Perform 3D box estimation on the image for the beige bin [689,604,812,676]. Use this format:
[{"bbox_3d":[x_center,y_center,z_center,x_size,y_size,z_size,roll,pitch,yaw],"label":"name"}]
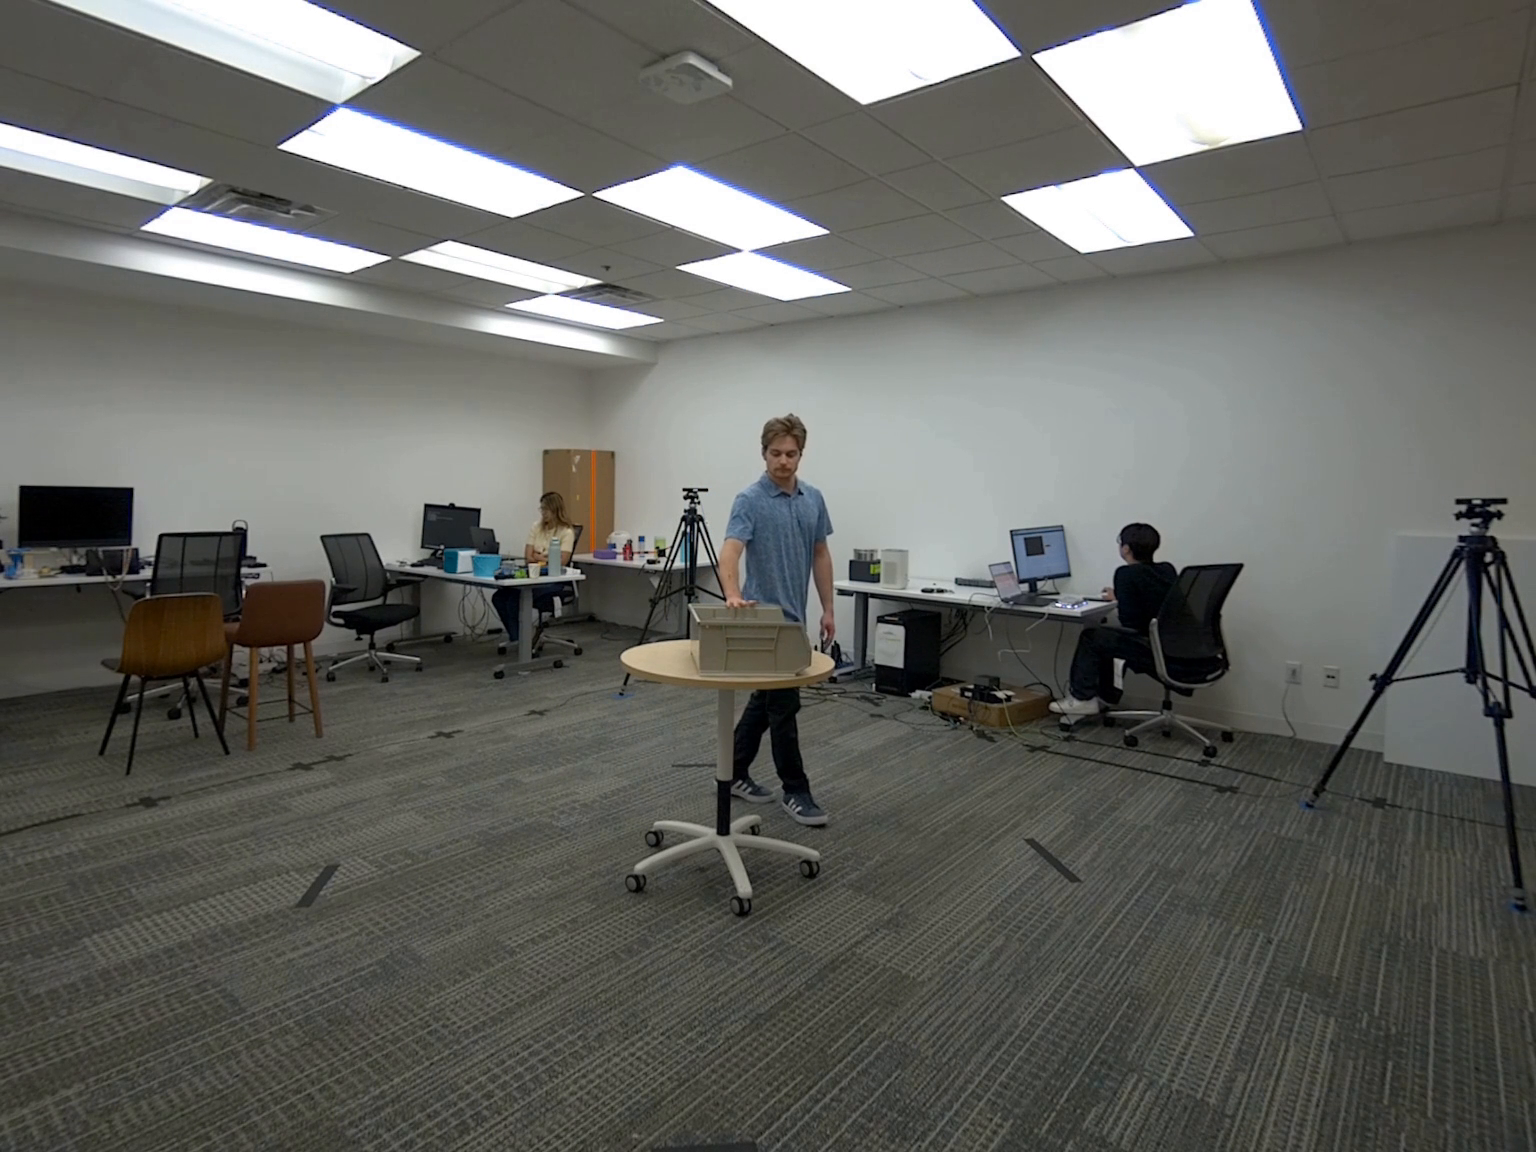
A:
[{"bbox_3d":[-0.079,0.212,2.951,0.374,0.188,0.428,0,4,-10],"label":"beige bin"}]
